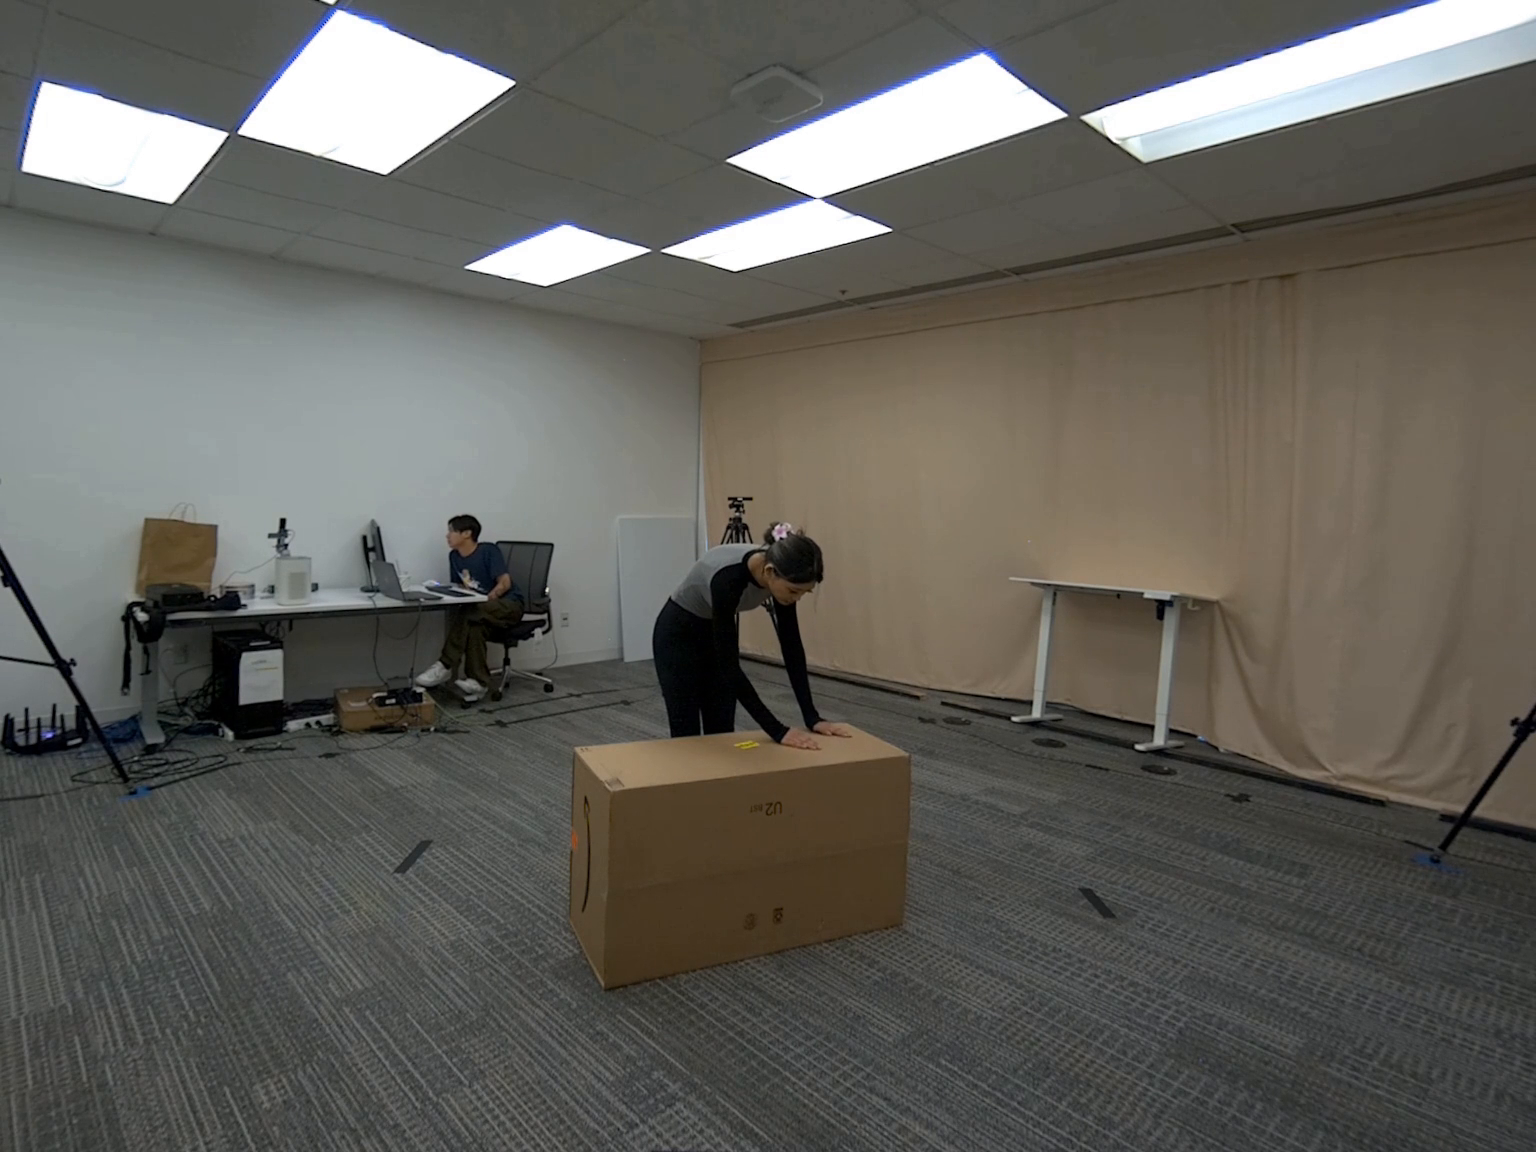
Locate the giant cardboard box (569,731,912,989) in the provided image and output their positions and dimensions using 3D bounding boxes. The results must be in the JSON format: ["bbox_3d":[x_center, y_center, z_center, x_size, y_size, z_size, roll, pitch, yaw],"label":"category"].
[{"bbox_3d":[-0.091,0.855,2.740,1.008,0.576,0.435,0,4,-24],"label":"giant cardboard box"}]
